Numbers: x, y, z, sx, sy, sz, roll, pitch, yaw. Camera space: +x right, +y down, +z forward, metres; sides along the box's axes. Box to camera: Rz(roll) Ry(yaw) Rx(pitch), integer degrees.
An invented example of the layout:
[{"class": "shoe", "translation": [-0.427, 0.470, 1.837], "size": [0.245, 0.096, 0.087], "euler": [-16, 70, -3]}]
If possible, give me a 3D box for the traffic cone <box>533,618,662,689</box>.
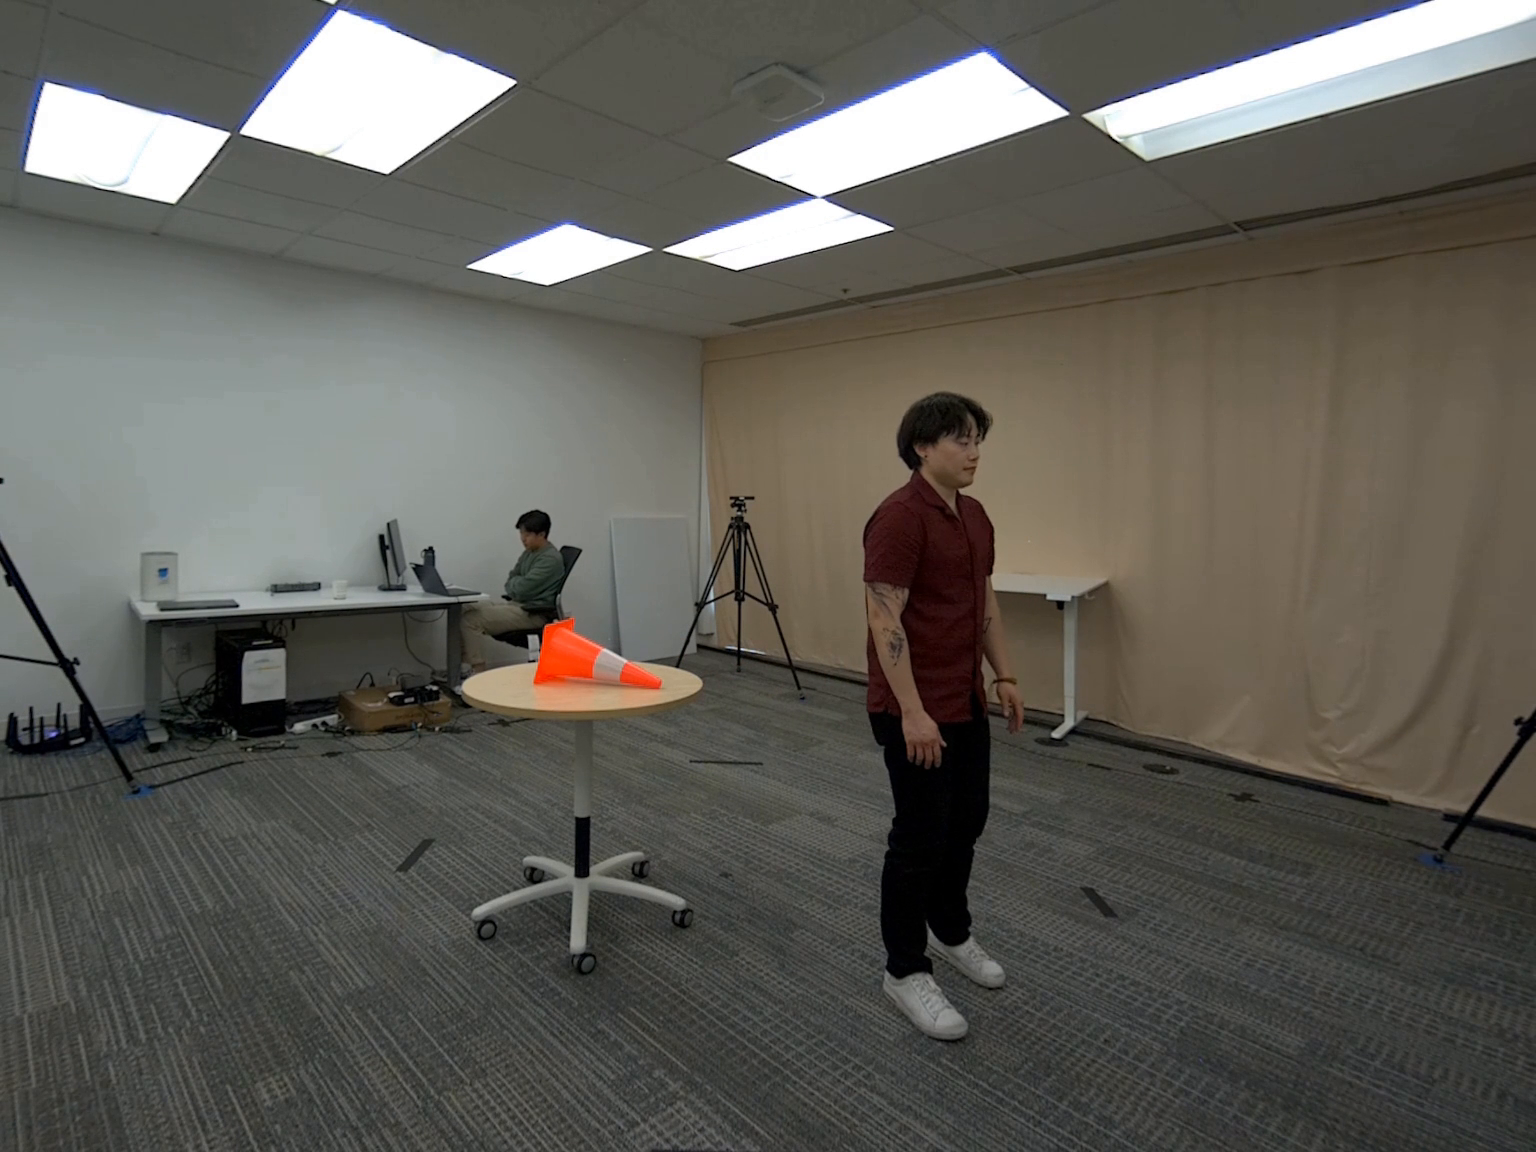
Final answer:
[{"class": "traffic cone", "translation": [-0.524, 0.287, 2.693], "size": [0.388, 0.203, 0.202], "euler": [13, 13, 13]}]
